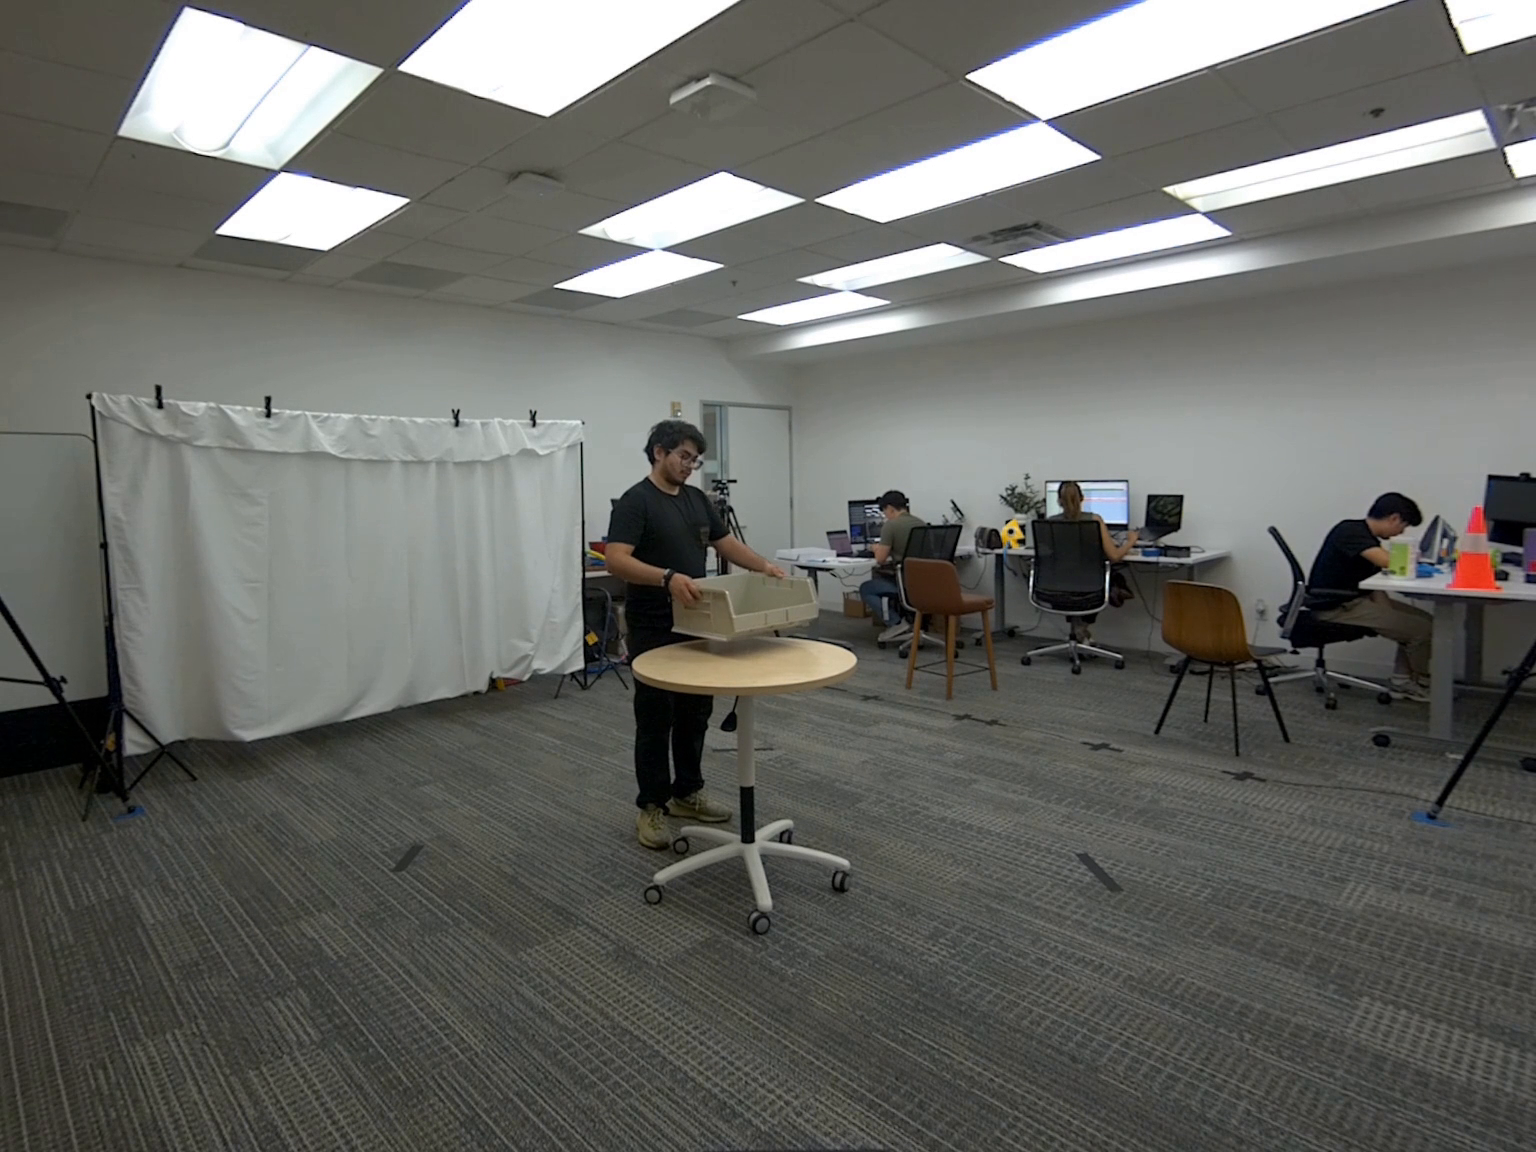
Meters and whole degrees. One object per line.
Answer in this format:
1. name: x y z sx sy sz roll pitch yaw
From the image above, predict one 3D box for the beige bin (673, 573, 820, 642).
1. beige bin: -0.093 0.108 3.157 0.412 0.188 0.389 -8 8 -40
